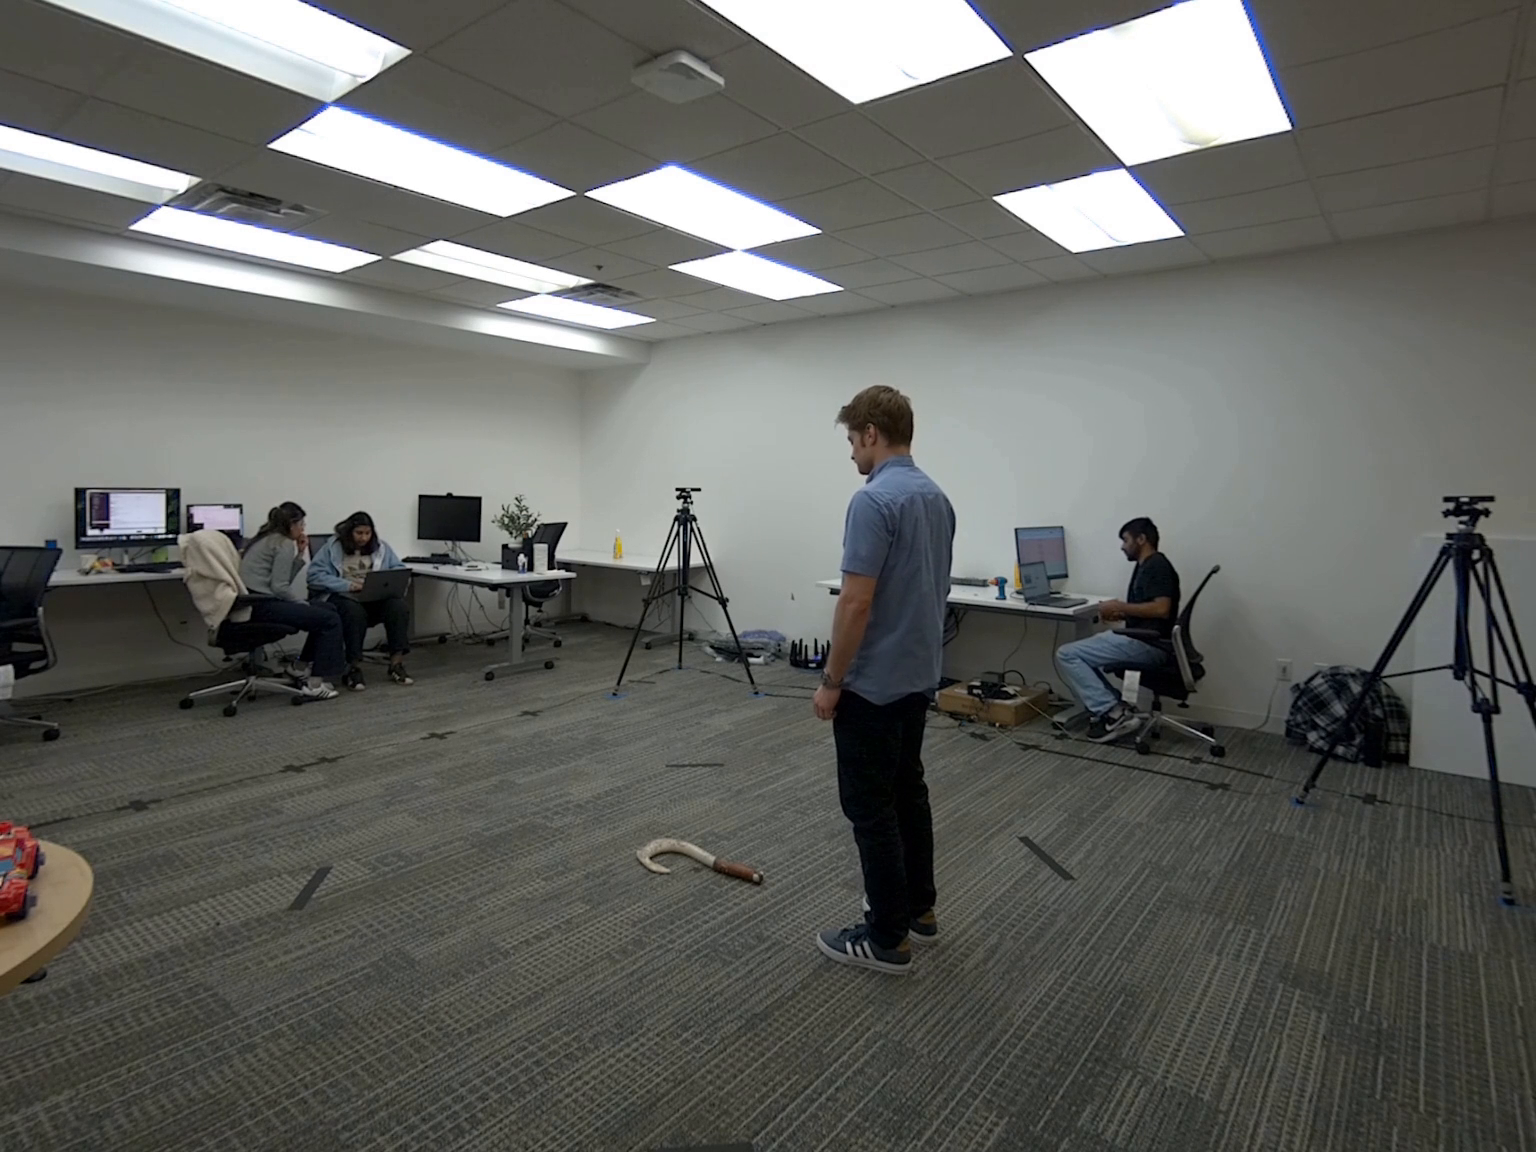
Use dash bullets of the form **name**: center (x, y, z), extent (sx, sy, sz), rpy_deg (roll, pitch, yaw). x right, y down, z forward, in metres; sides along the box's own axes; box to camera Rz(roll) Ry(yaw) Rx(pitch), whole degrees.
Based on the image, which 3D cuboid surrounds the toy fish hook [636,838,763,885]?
- **toy fish hook**: center (-0.266, 1.053, 3.094), extent (0.523, 0.048, 0.220), rpy_deg (4, 14, 35)
